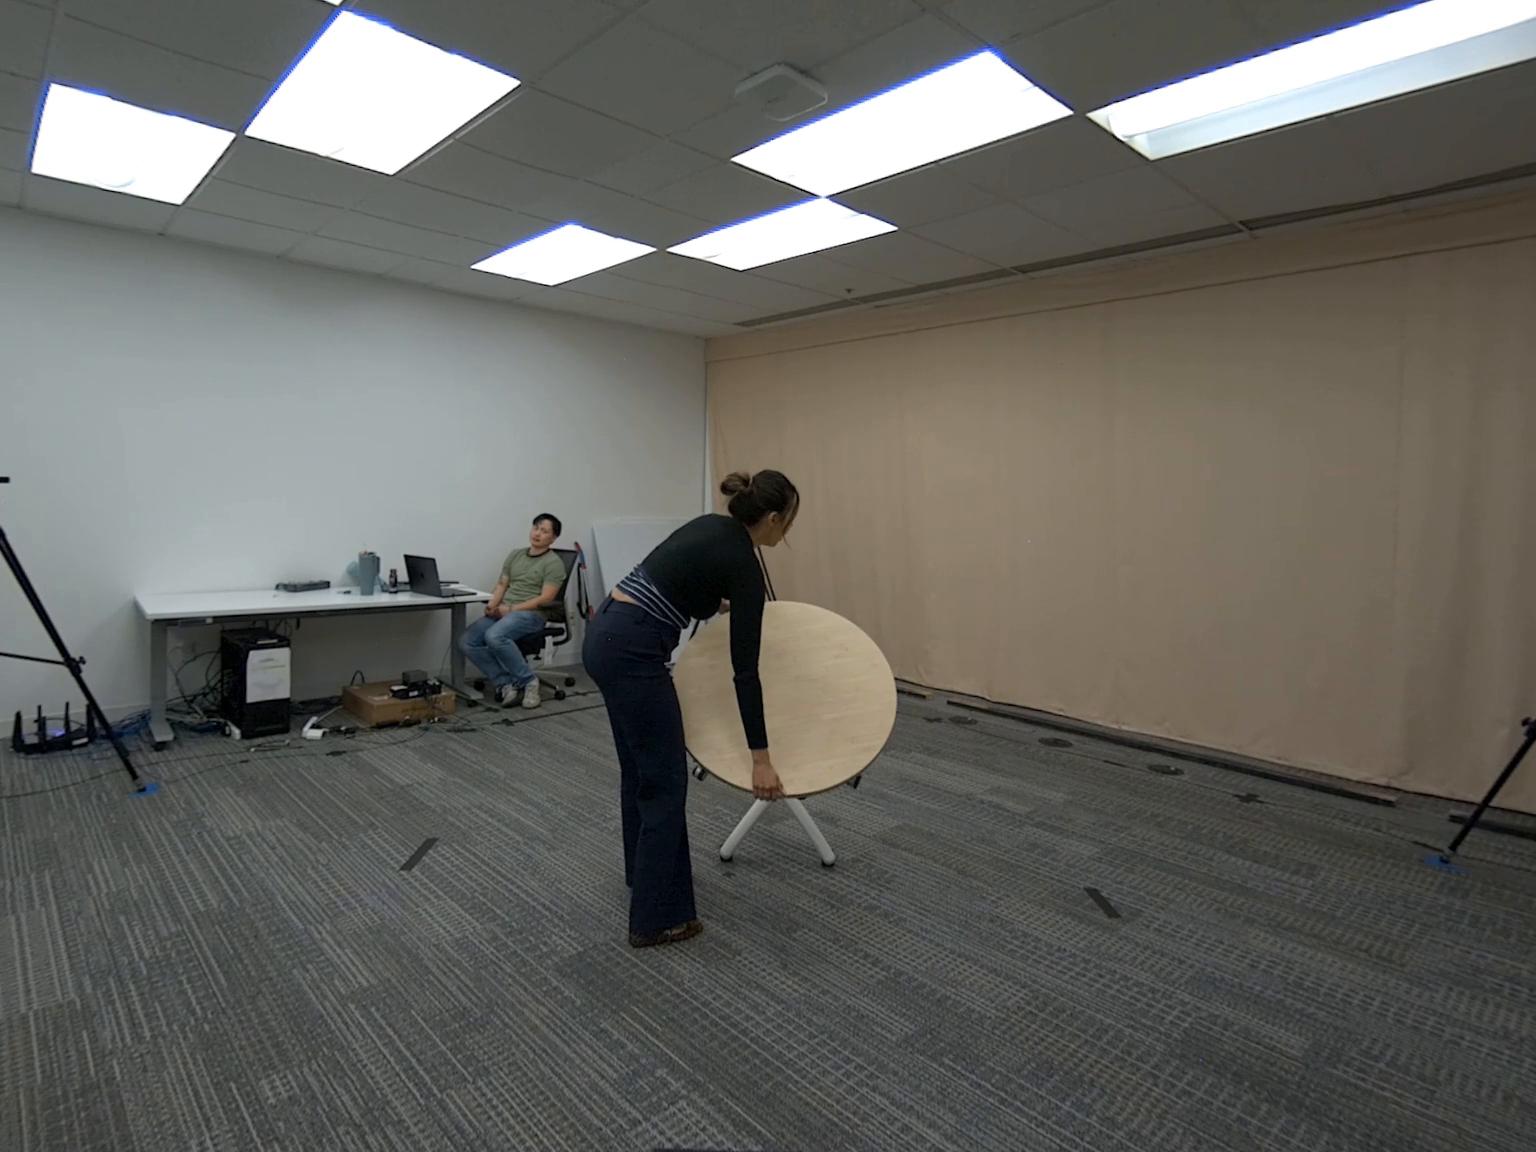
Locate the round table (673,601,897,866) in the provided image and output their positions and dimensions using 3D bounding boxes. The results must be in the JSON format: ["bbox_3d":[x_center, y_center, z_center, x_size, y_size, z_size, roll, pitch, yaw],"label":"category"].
[{"bbox_3d":[0.035,0.643,3.130,0.764,0.776,0.781,-1,47,0],"label":"round table"}]
